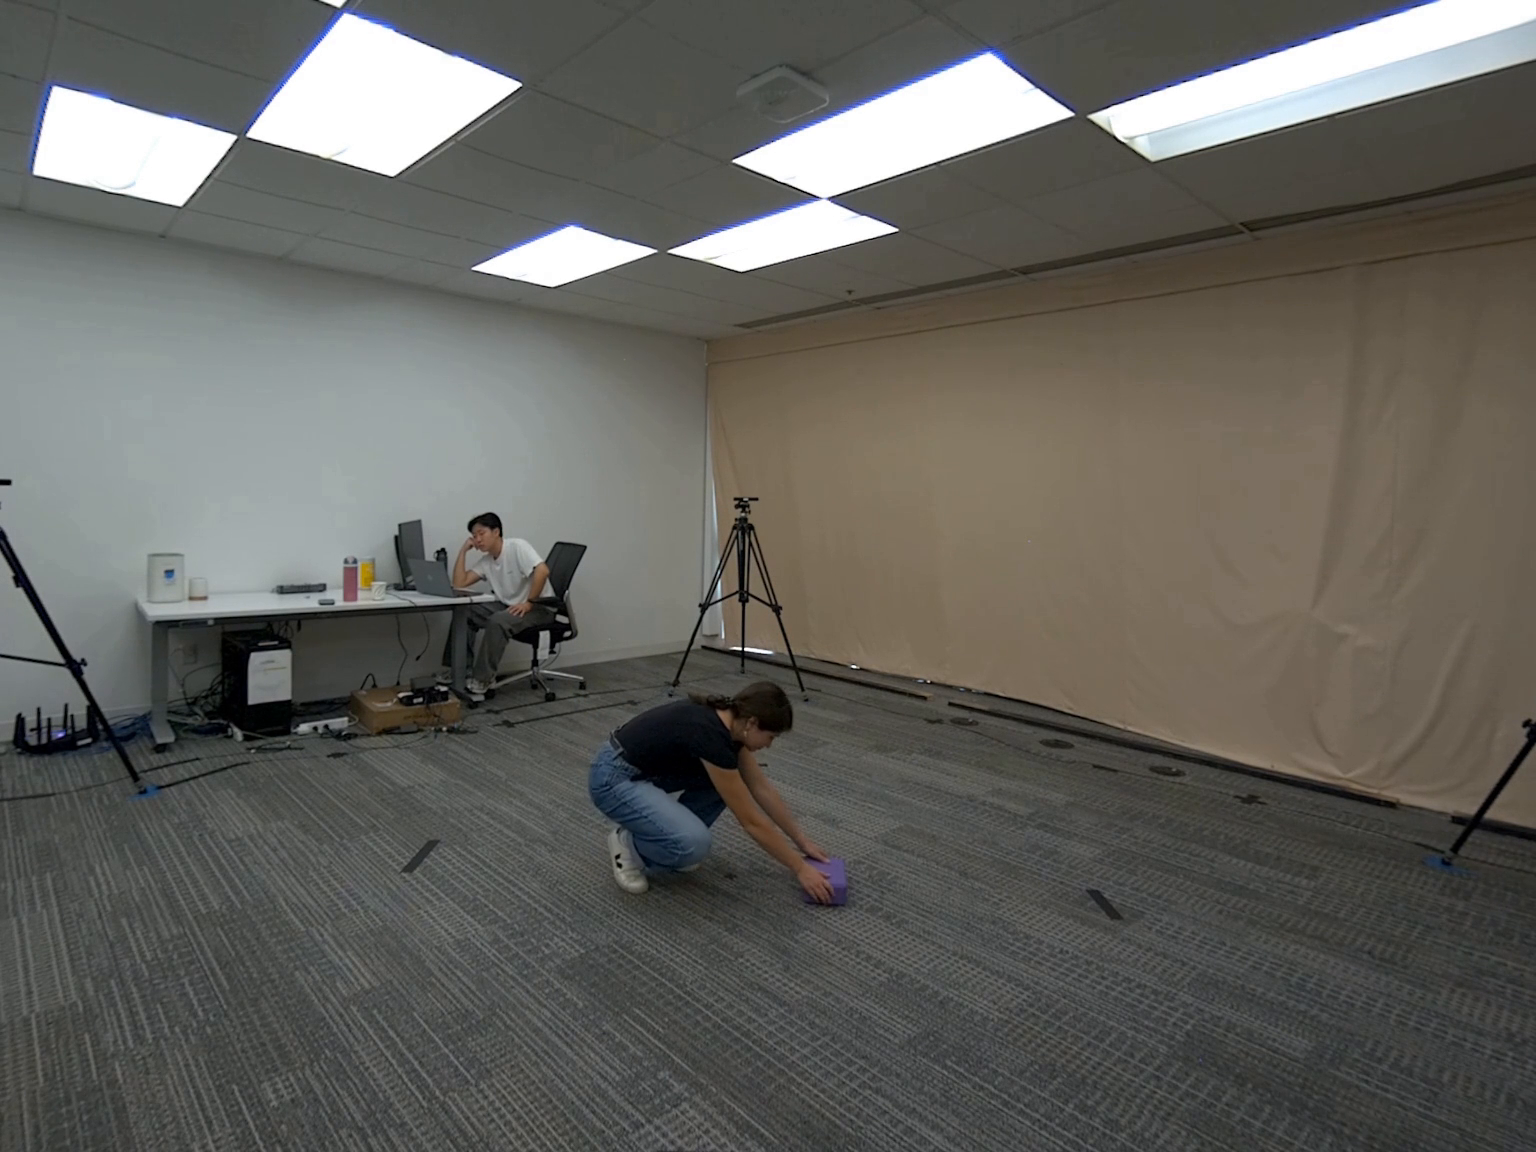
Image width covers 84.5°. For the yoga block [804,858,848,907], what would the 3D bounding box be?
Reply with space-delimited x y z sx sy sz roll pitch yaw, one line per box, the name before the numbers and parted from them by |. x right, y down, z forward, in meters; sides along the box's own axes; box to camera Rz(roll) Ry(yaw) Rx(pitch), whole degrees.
yoga block | 0.186 1.088 2.993 0.149 0.076 0.229 2 4 4
